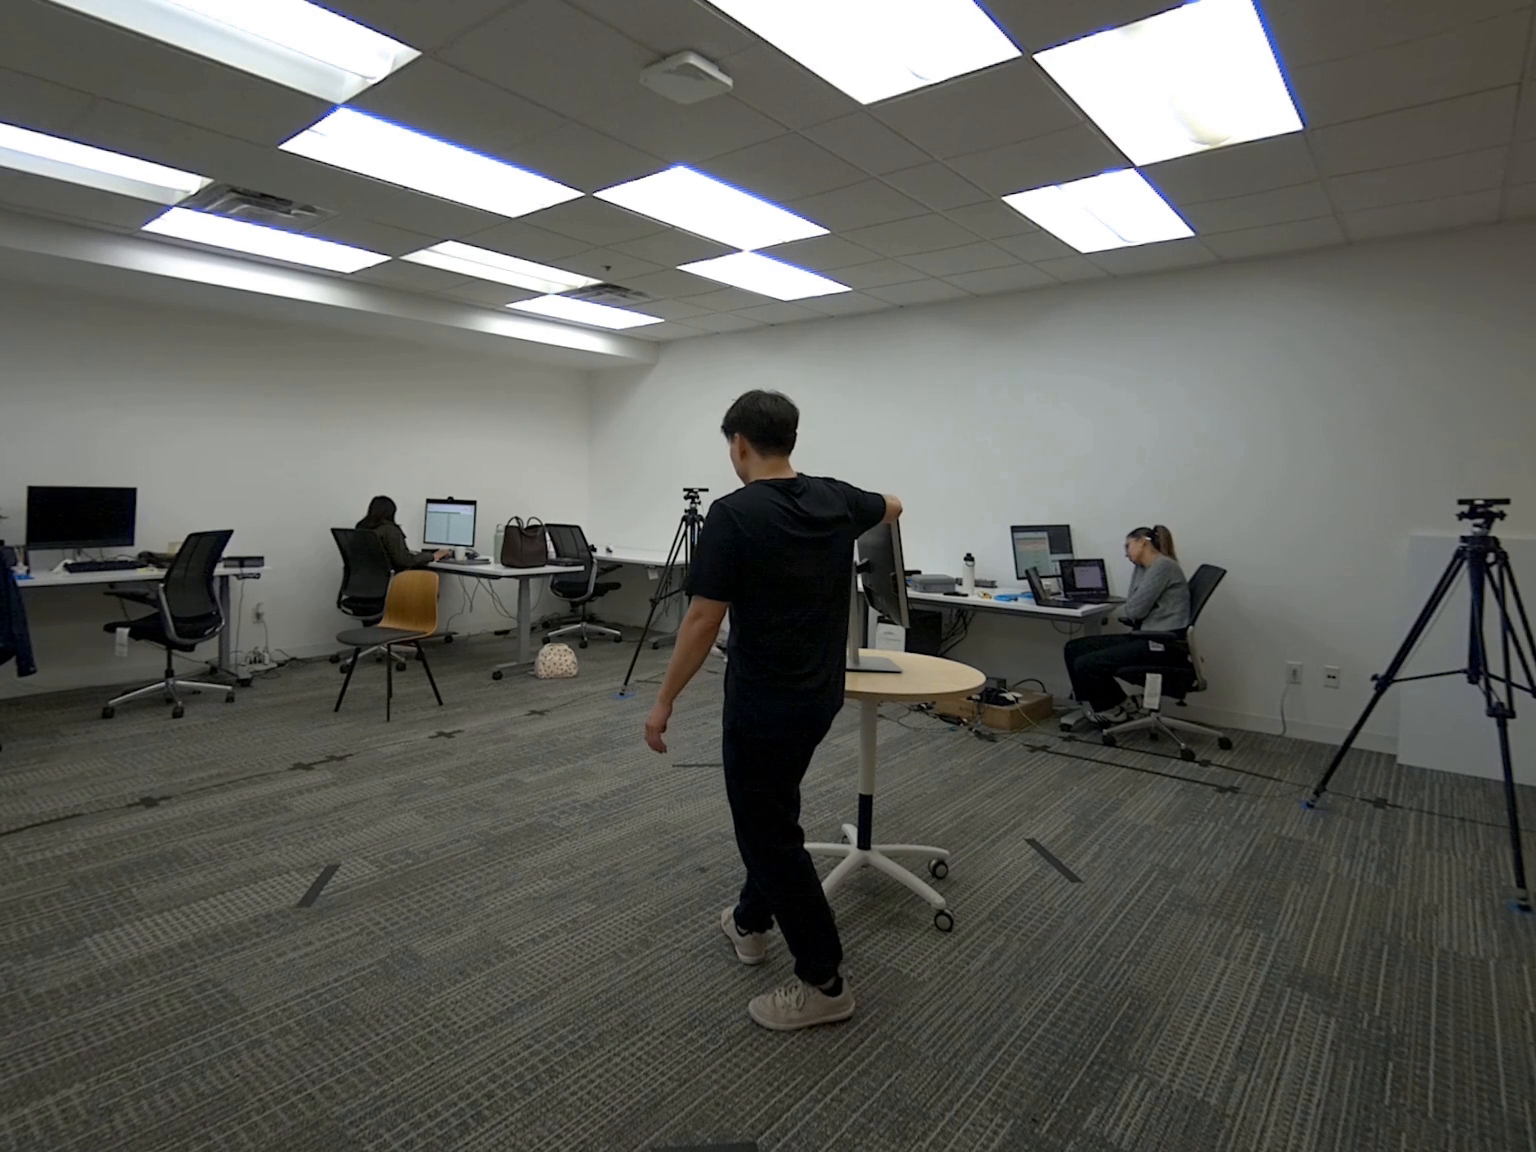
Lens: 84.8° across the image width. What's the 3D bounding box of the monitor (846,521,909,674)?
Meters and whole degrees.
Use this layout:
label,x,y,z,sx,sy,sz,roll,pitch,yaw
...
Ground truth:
label,x,y,z,sx,sy,sz,roll,pitch,yaw
monitor,0.351,0.053,2.997,0.186,0.521,0.544,3,4,-6
